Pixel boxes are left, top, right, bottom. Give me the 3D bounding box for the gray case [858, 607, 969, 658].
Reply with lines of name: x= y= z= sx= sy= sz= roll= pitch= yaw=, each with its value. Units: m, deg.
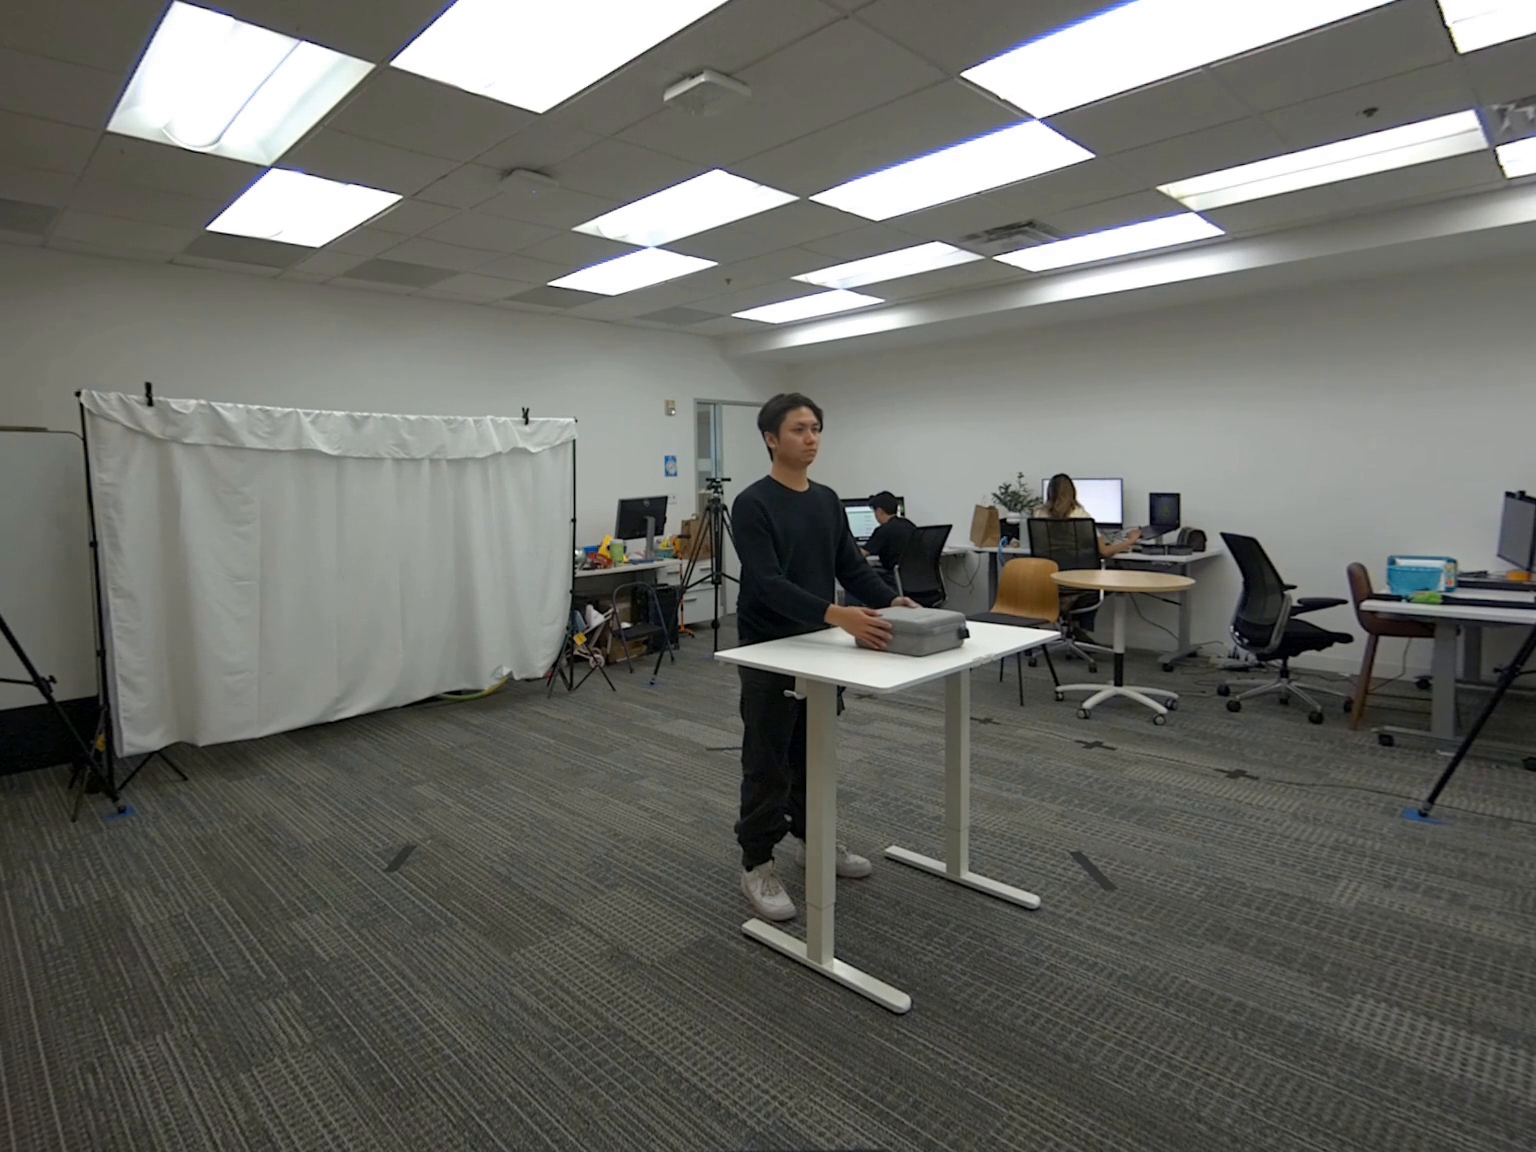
gray case: x=0.430 y=0.164 z=2.564 sx=0.250 sy=0.104 sz=0.269 roll=-7 pitch=9 yaw=-43
